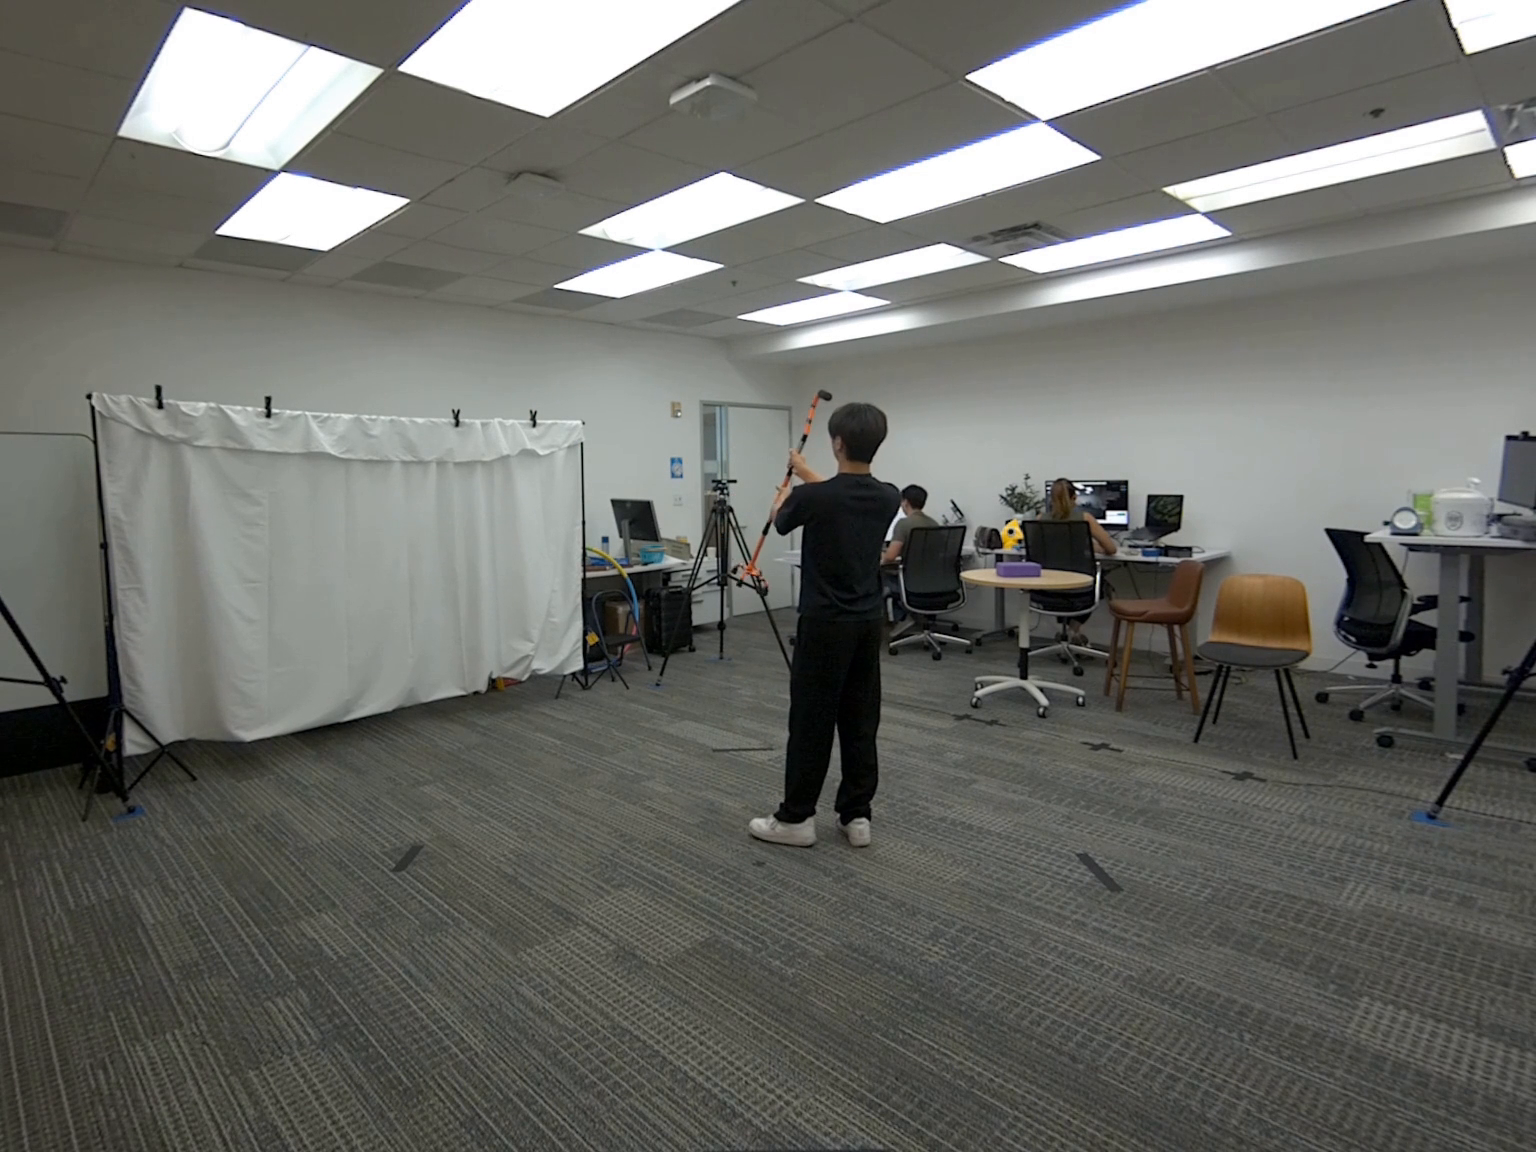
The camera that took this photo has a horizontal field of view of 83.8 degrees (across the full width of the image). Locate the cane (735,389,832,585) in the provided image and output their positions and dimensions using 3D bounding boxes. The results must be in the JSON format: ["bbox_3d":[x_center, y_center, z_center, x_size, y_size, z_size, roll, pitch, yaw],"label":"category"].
[{"bbox_3d":[0.083,-0.374,3.731,0.149,0.903,0.210,19,11,-12],"label":"cane"}]
